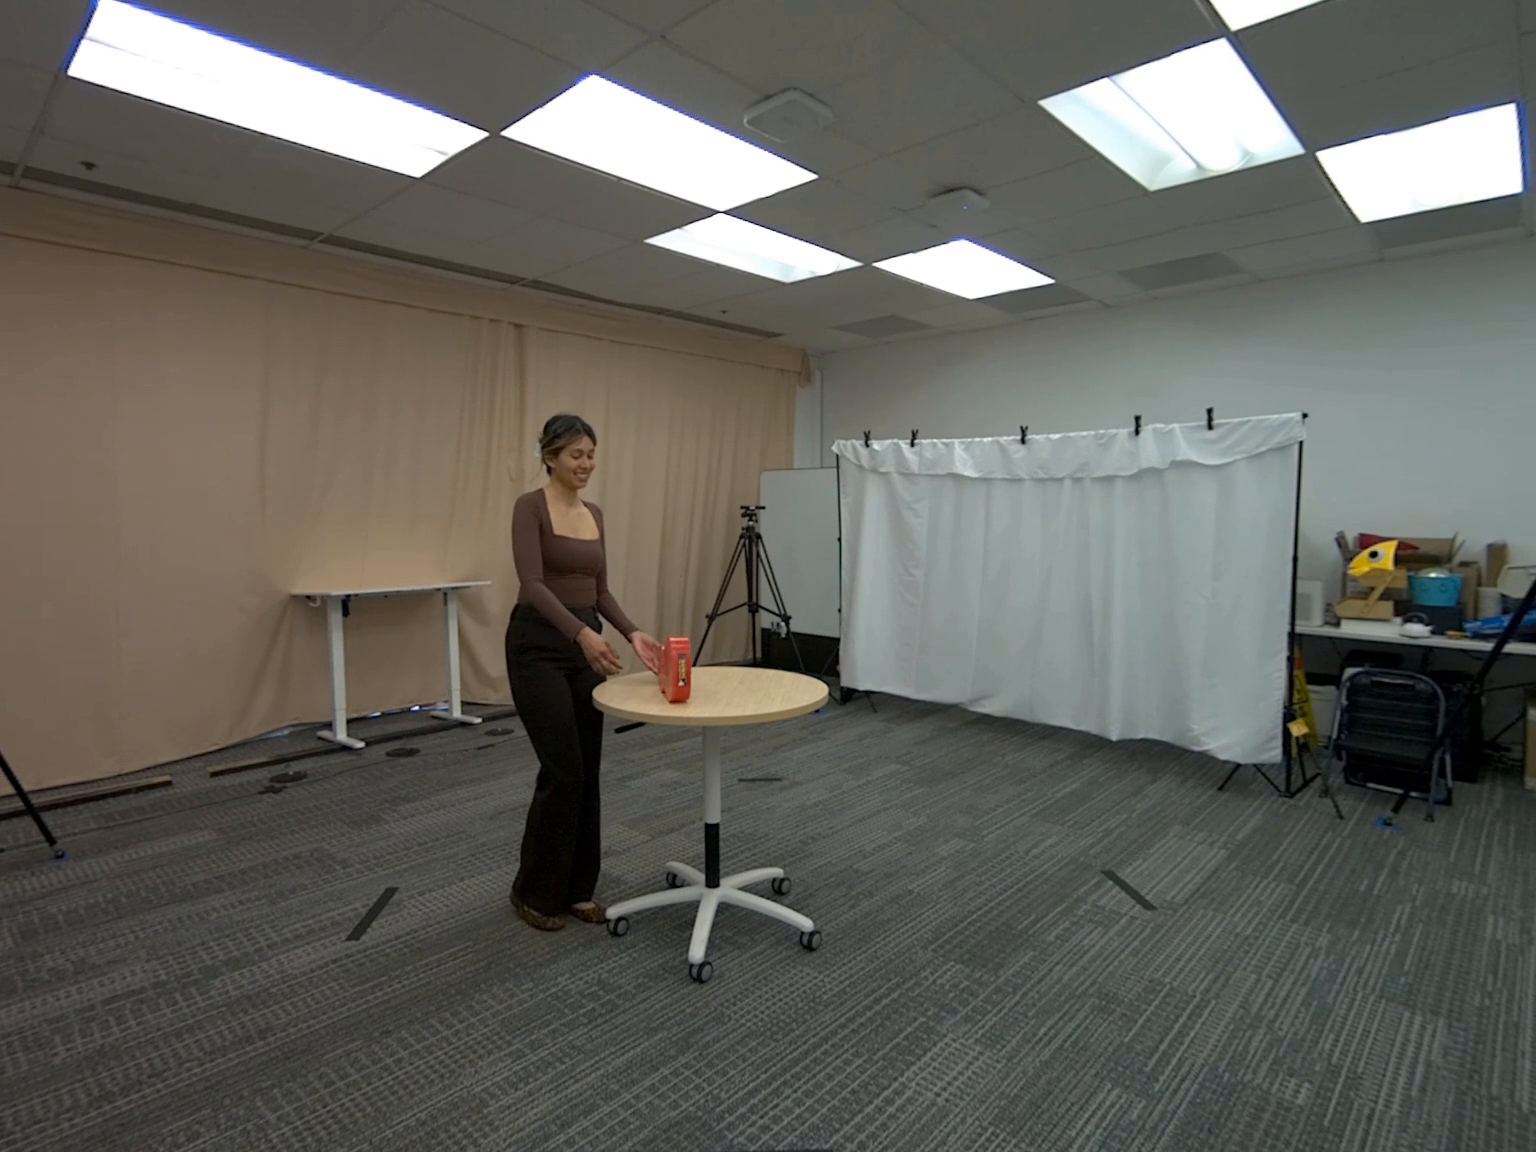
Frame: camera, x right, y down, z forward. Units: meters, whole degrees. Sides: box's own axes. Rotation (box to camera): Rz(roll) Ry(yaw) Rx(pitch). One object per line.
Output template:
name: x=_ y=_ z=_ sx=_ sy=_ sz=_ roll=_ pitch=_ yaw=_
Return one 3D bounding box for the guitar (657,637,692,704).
guitar: x=-0.319 y=0.329 z=2.737 sx=0.070 sy=0.195 sz=0.500 roll=-1 pitch=-14 yaw=-15
